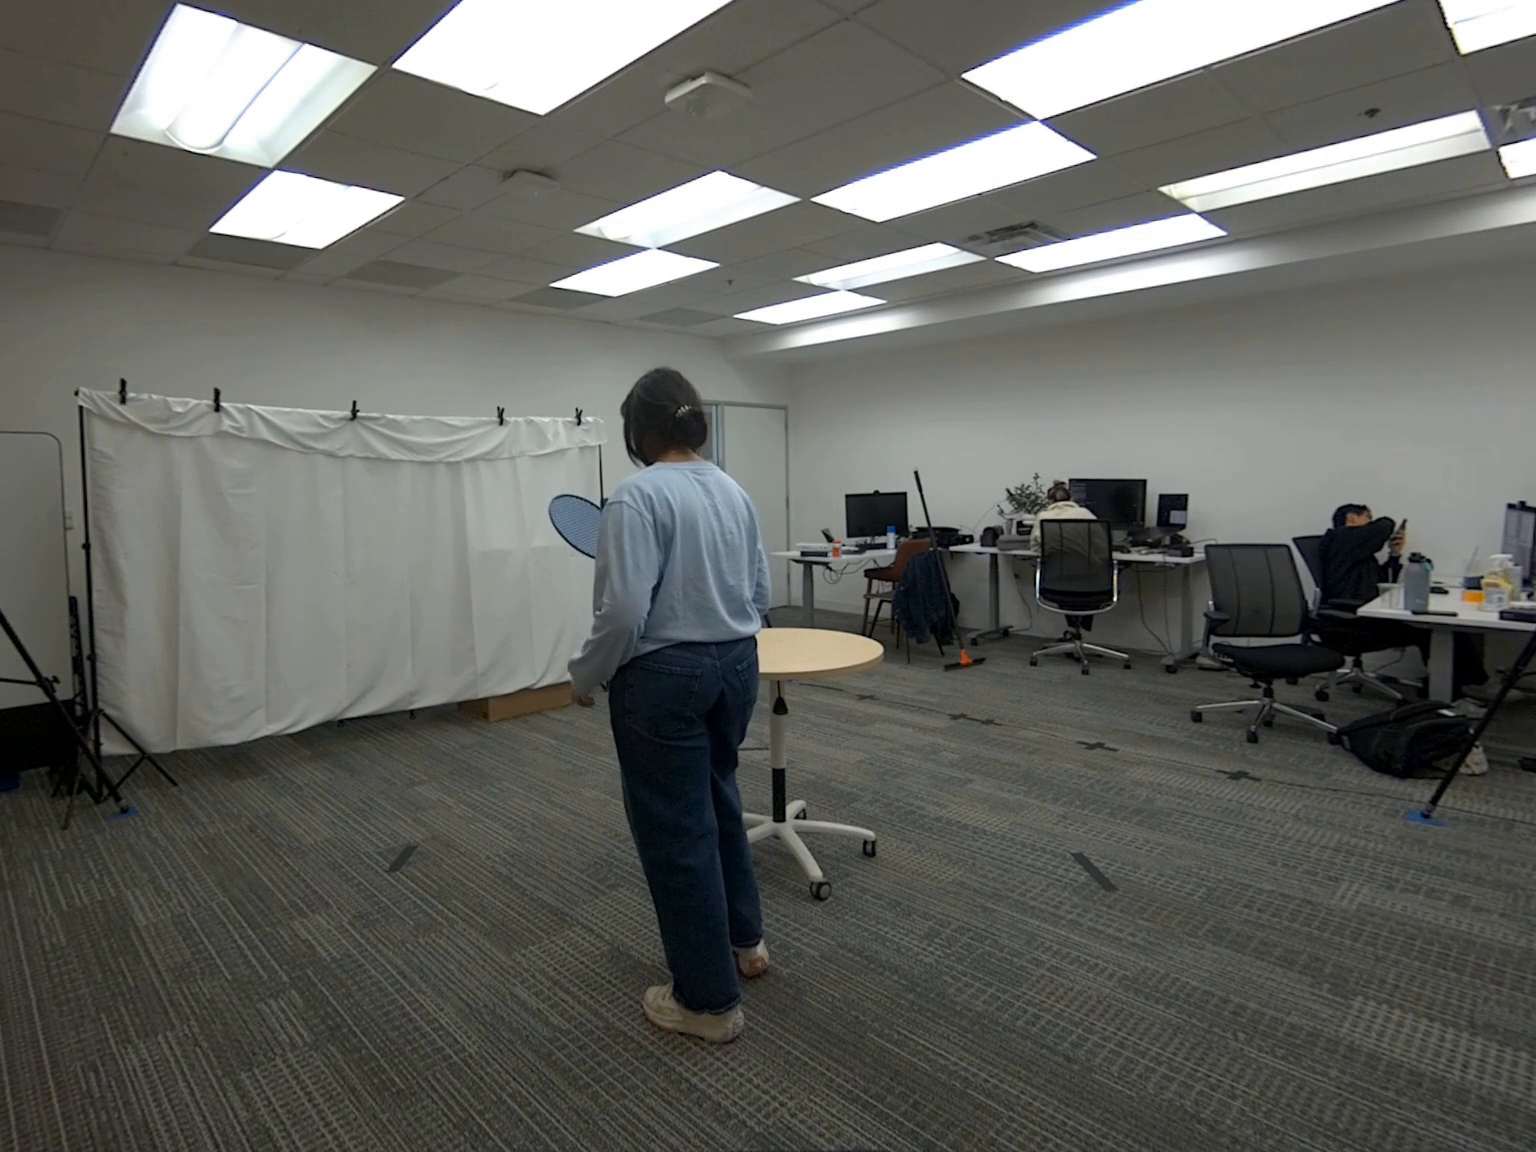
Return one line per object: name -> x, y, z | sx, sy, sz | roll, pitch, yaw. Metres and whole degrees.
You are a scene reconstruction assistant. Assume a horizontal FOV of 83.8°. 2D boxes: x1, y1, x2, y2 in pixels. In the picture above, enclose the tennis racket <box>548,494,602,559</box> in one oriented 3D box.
tennis racket -> -0.455, -0.084, 2.481 | 0.210, 0.440, 0.032 | -24, -21, -53
